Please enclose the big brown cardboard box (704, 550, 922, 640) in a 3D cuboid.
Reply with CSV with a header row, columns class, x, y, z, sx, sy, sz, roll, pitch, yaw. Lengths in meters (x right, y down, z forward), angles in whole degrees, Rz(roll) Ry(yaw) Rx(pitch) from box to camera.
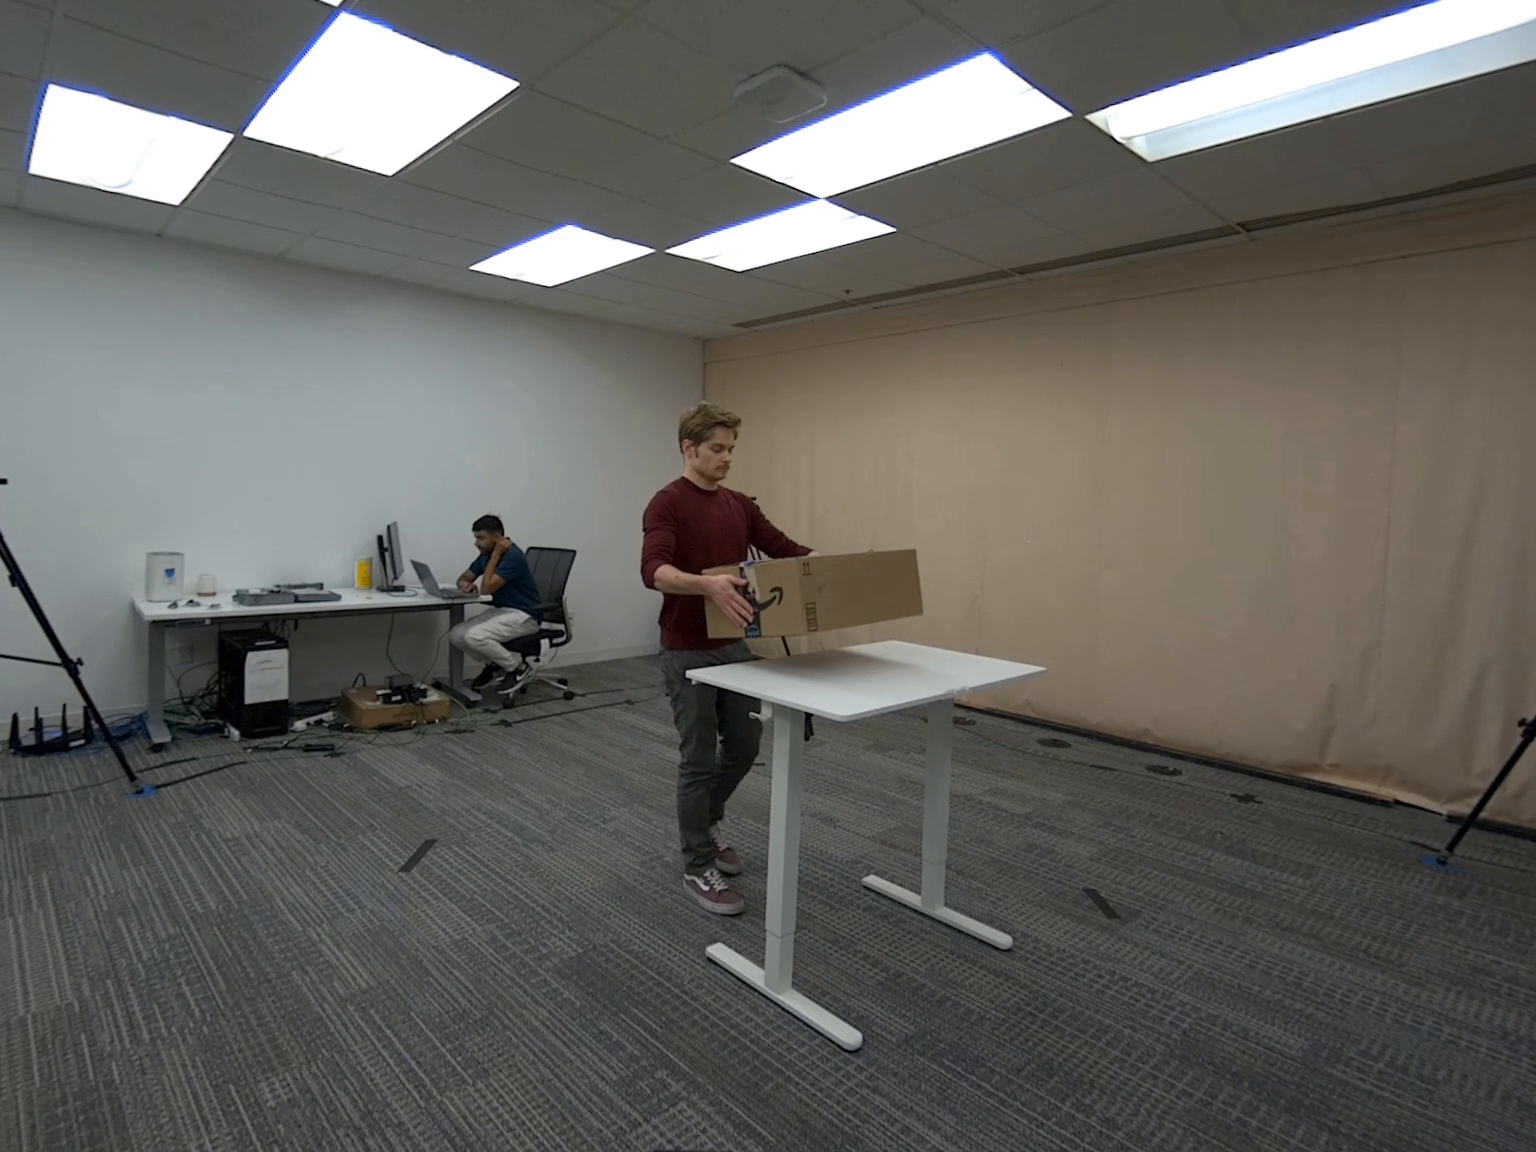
class,x,y,z,sx,sy,sz,roll,pitch,yaw
big brown cardboard box,0.139,0.055,2.651,0.576,0.233,0.426,-6,0,-43
